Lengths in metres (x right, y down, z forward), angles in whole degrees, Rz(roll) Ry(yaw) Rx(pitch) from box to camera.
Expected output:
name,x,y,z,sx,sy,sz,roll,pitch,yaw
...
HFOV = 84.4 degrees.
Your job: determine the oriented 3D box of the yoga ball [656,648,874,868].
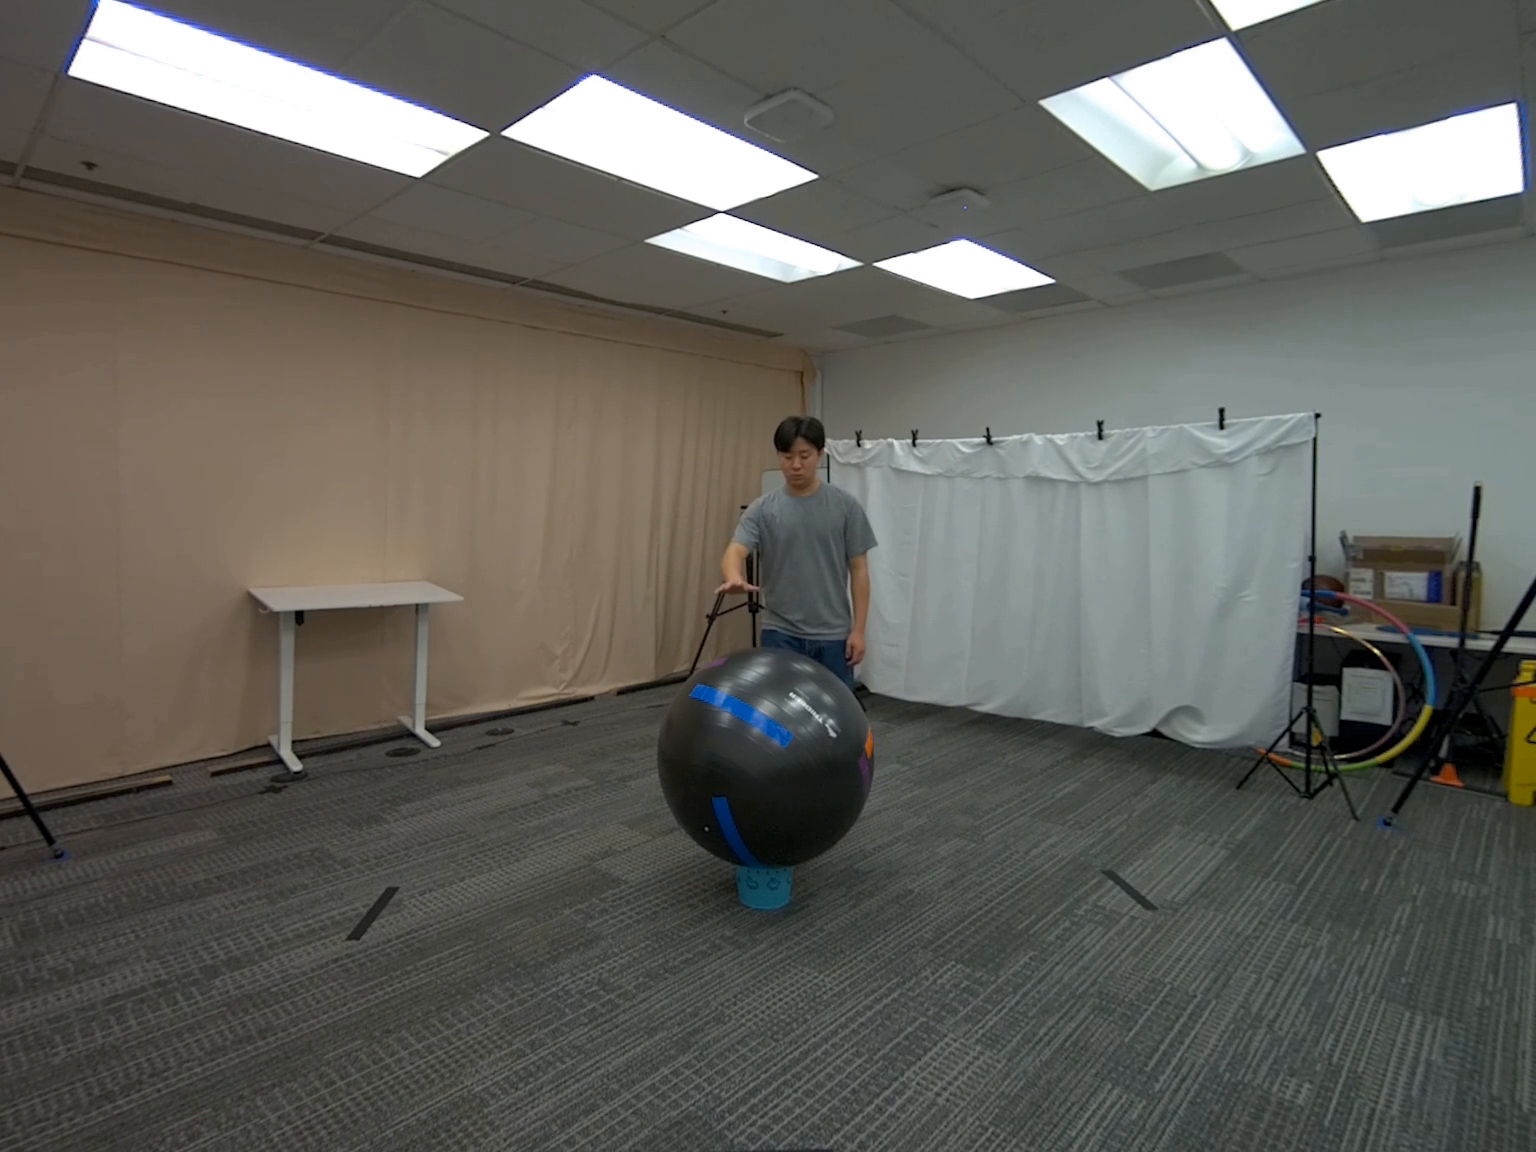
name,x,y,z,sx,sy,sz,roll,pitch,yaw
yoga ball,-0.012,0.632,2.973,0.757,0.756,0.760,0,4,-2
